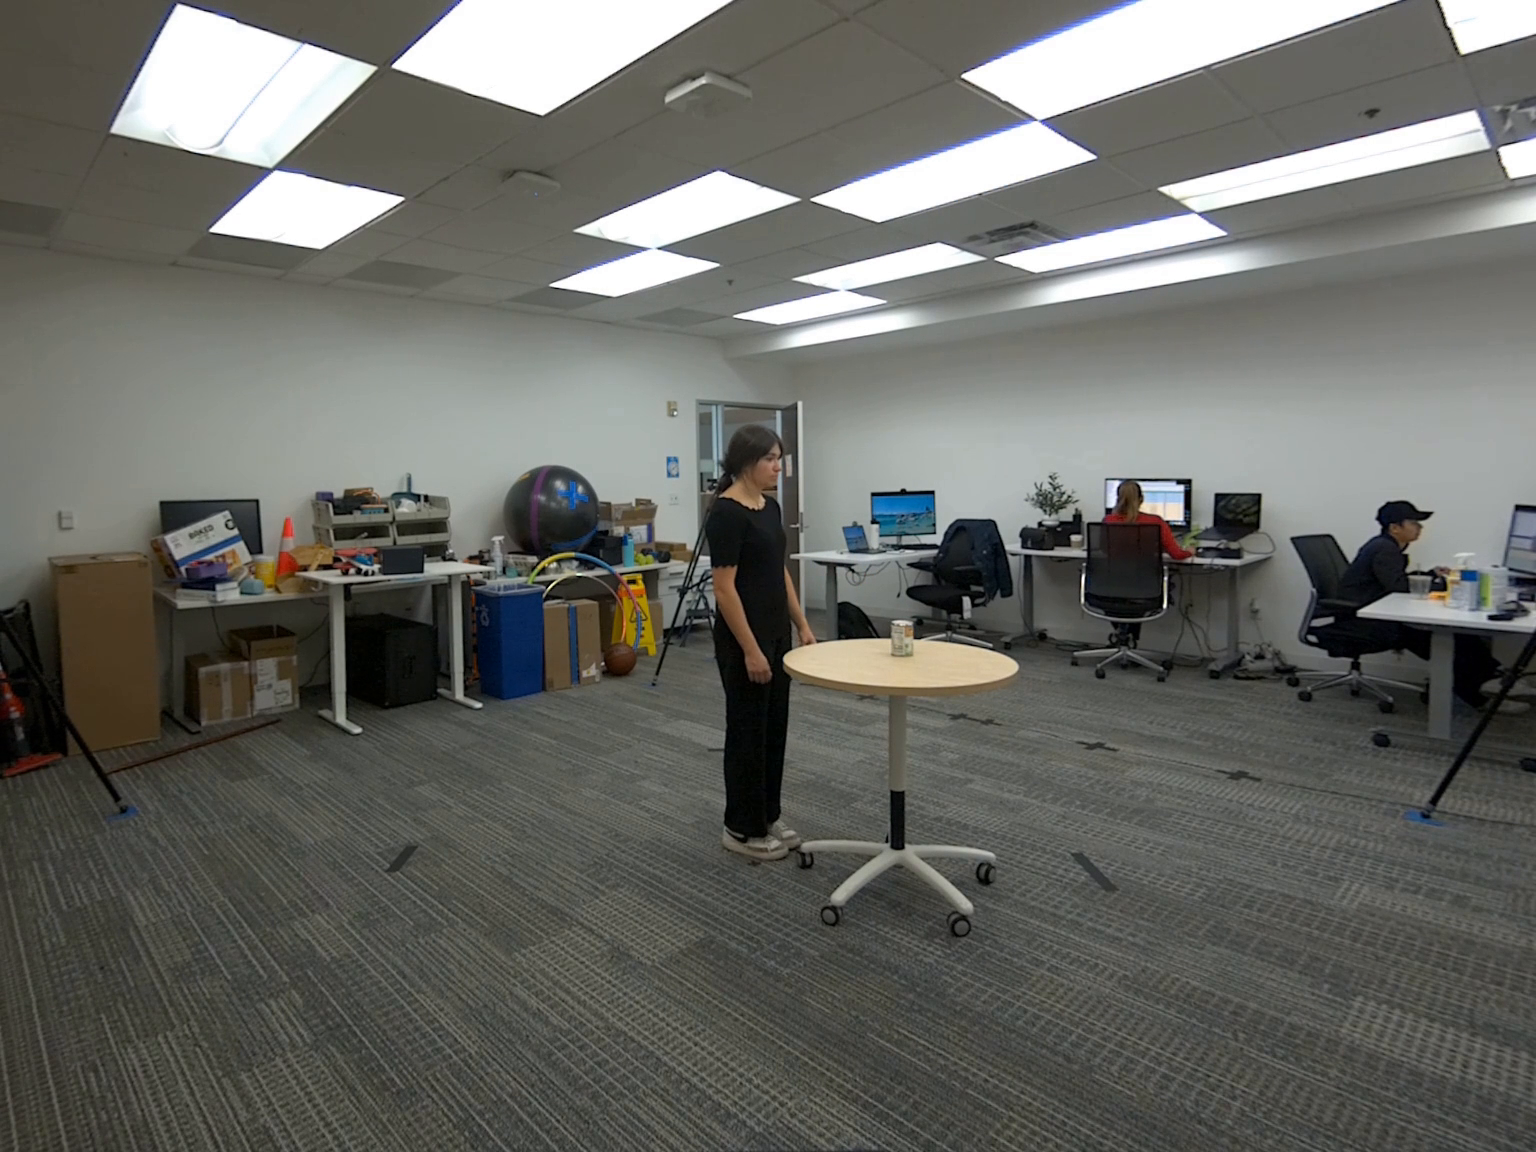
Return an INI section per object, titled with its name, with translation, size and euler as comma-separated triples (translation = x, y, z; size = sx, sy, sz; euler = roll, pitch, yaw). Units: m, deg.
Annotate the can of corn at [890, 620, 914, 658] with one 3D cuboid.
[can of corn]
translation = 0.472, 0.217, 2.938
size = 0.074, 0.110, 0.075
euler = 0, 6, -2
